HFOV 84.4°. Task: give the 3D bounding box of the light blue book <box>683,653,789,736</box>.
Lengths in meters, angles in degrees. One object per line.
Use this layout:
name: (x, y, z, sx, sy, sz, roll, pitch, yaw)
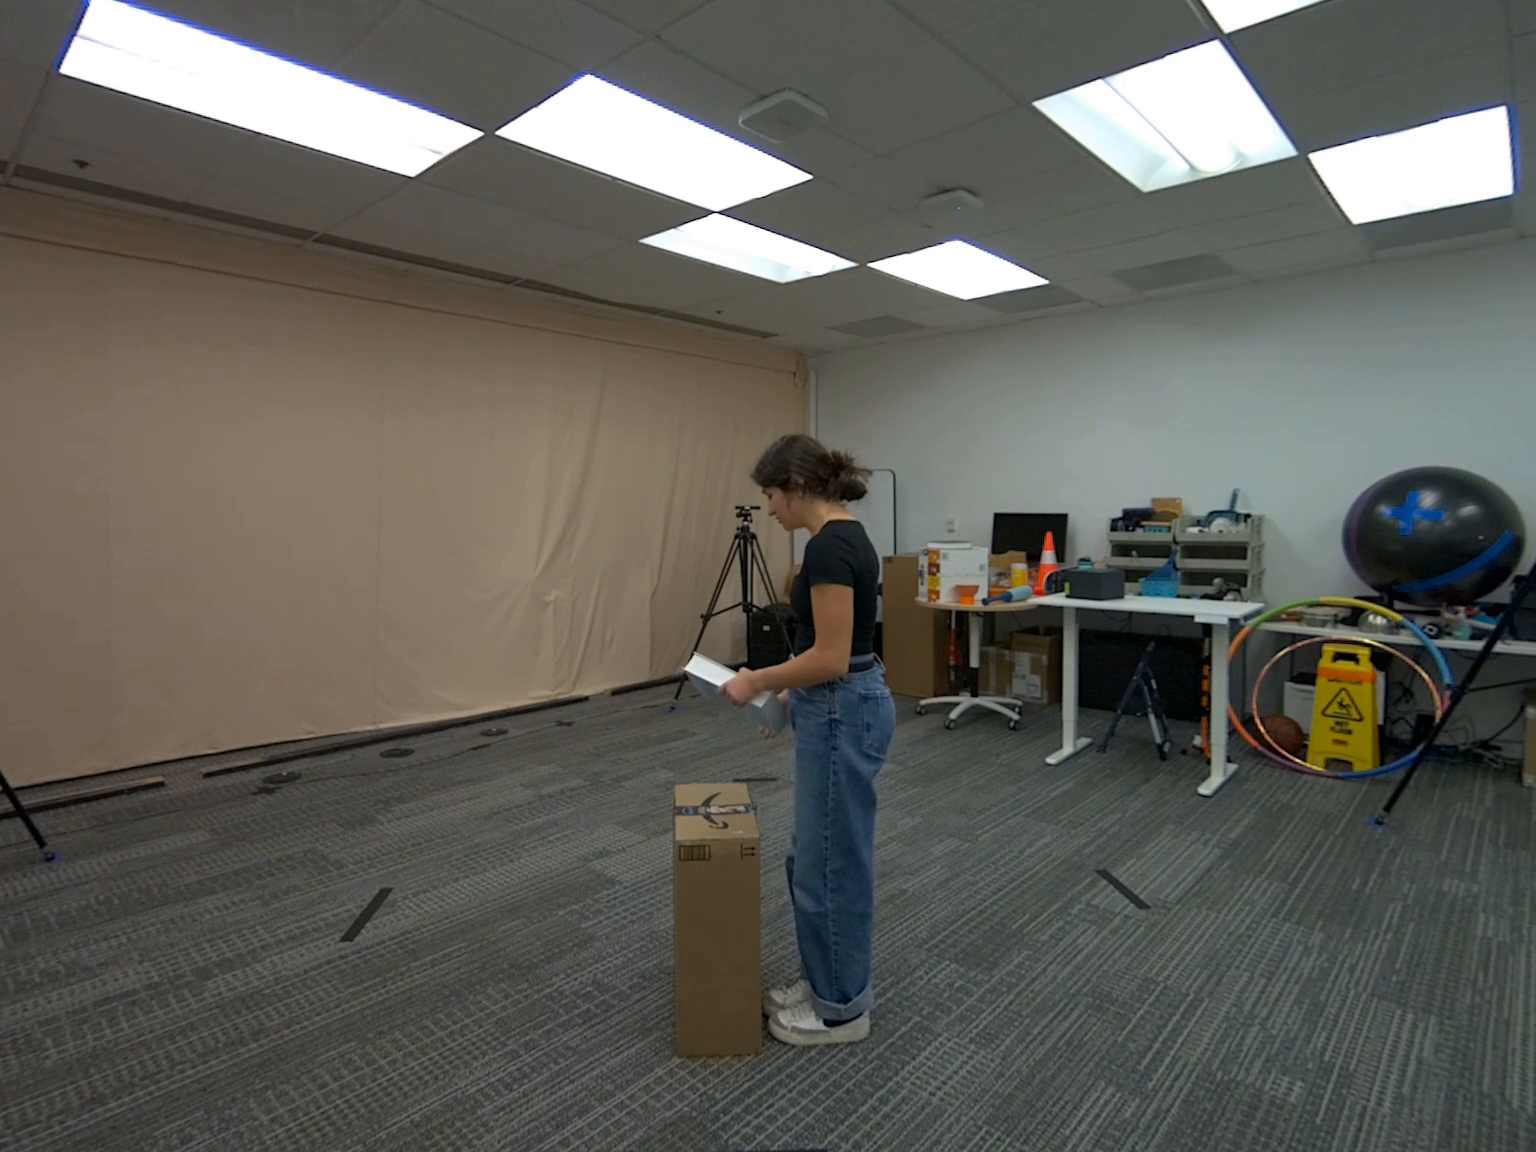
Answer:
light blue book: (-0.083, 0.321, 2.281, 0.269, 0.059, 0.185, 21, -24, 30)
